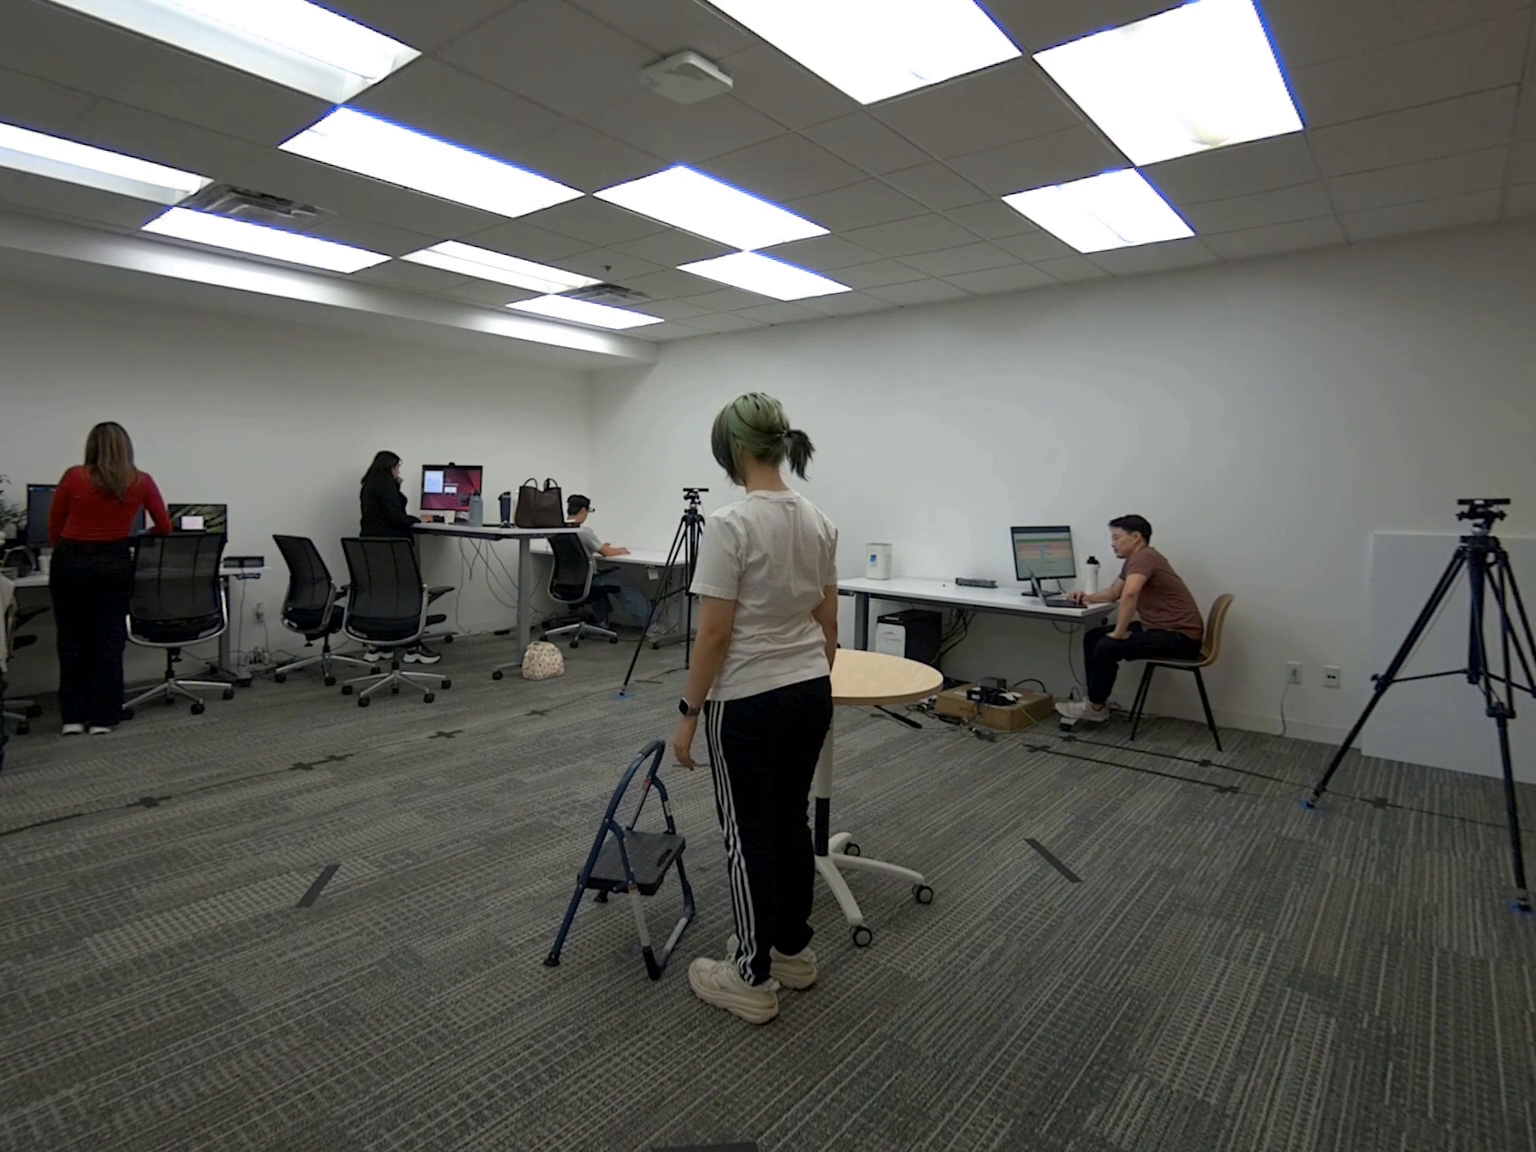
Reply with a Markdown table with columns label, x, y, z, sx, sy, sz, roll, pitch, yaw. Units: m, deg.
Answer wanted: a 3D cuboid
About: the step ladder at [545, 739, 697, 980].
| label | x | y | z | sx | sy | sz | roll | pitch | yaw |
| --- | --- | --- | --- | --- | --- | --- | --- | --- | --- |
| step ladder | -0.443 | 0.811 | 2.614 | 0.354 | 0.604 | 0.426 | 1 | 3 | 11 |
